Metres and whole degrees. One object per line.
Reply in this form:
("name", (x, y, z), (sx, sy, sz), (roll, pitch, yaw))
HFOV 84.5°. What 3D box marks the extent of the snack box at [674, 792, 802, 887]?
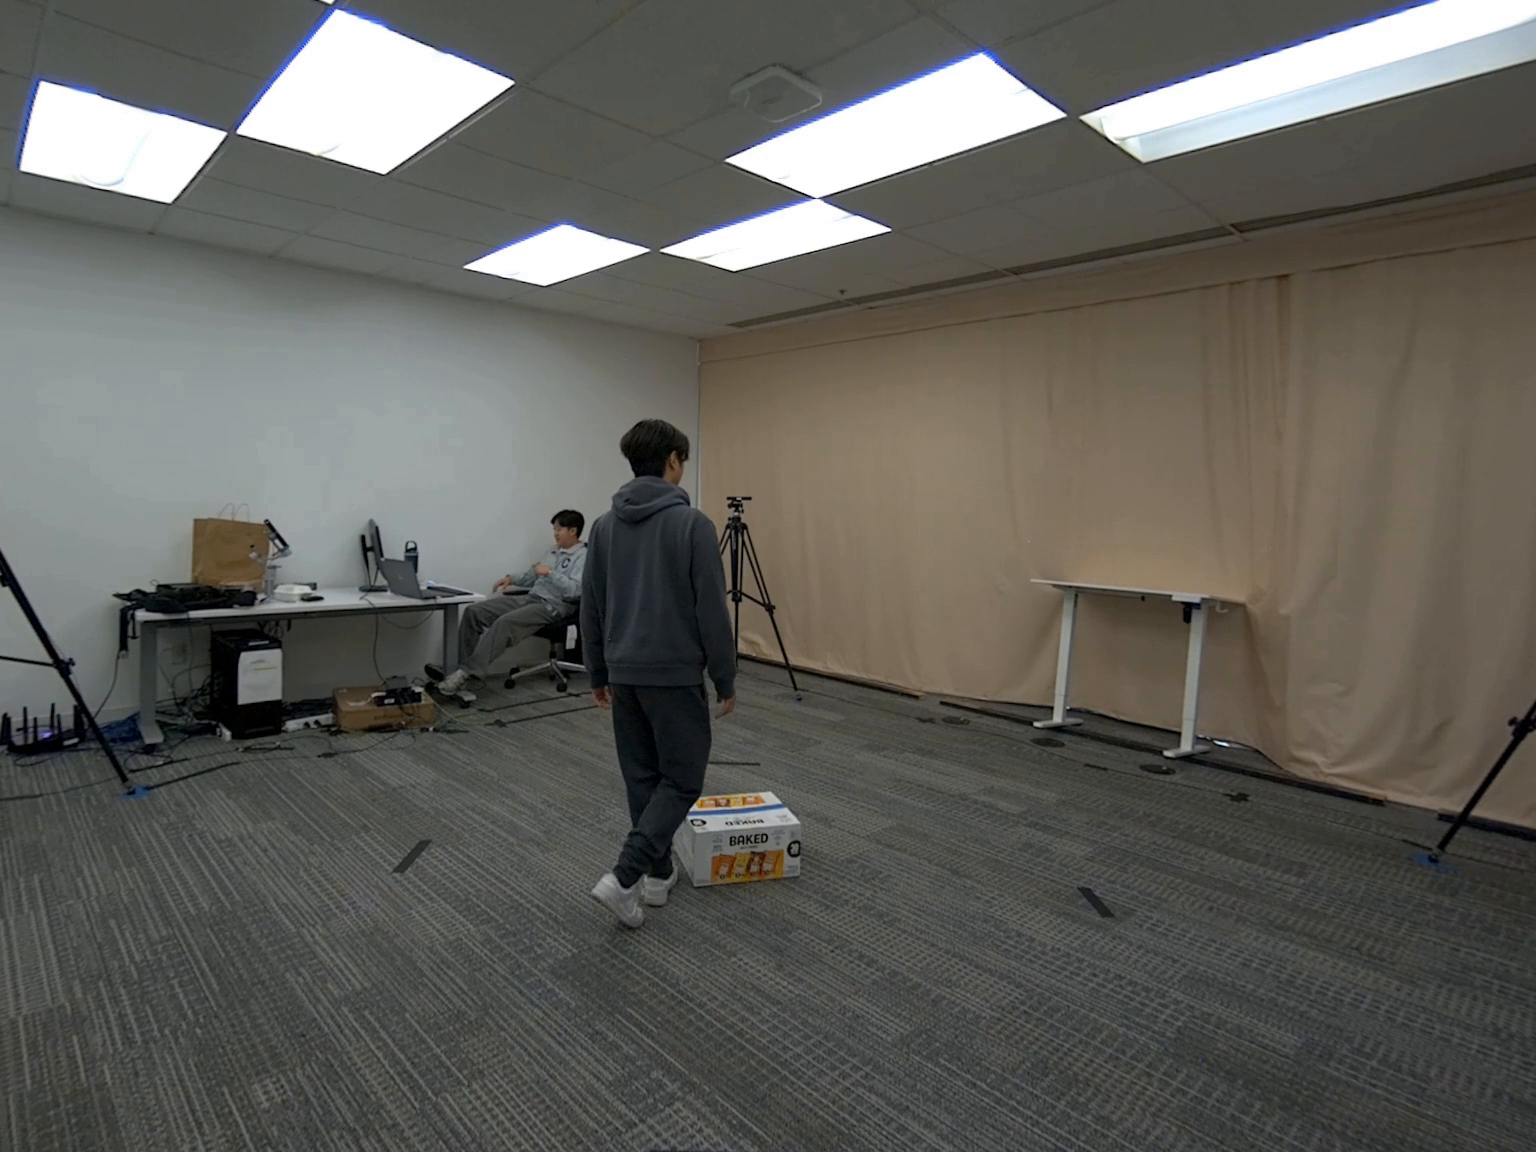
("snack box", (-0.130, 0.995, 3.208), (0.400, 0.205, 0.346), (0, 4, -18))
